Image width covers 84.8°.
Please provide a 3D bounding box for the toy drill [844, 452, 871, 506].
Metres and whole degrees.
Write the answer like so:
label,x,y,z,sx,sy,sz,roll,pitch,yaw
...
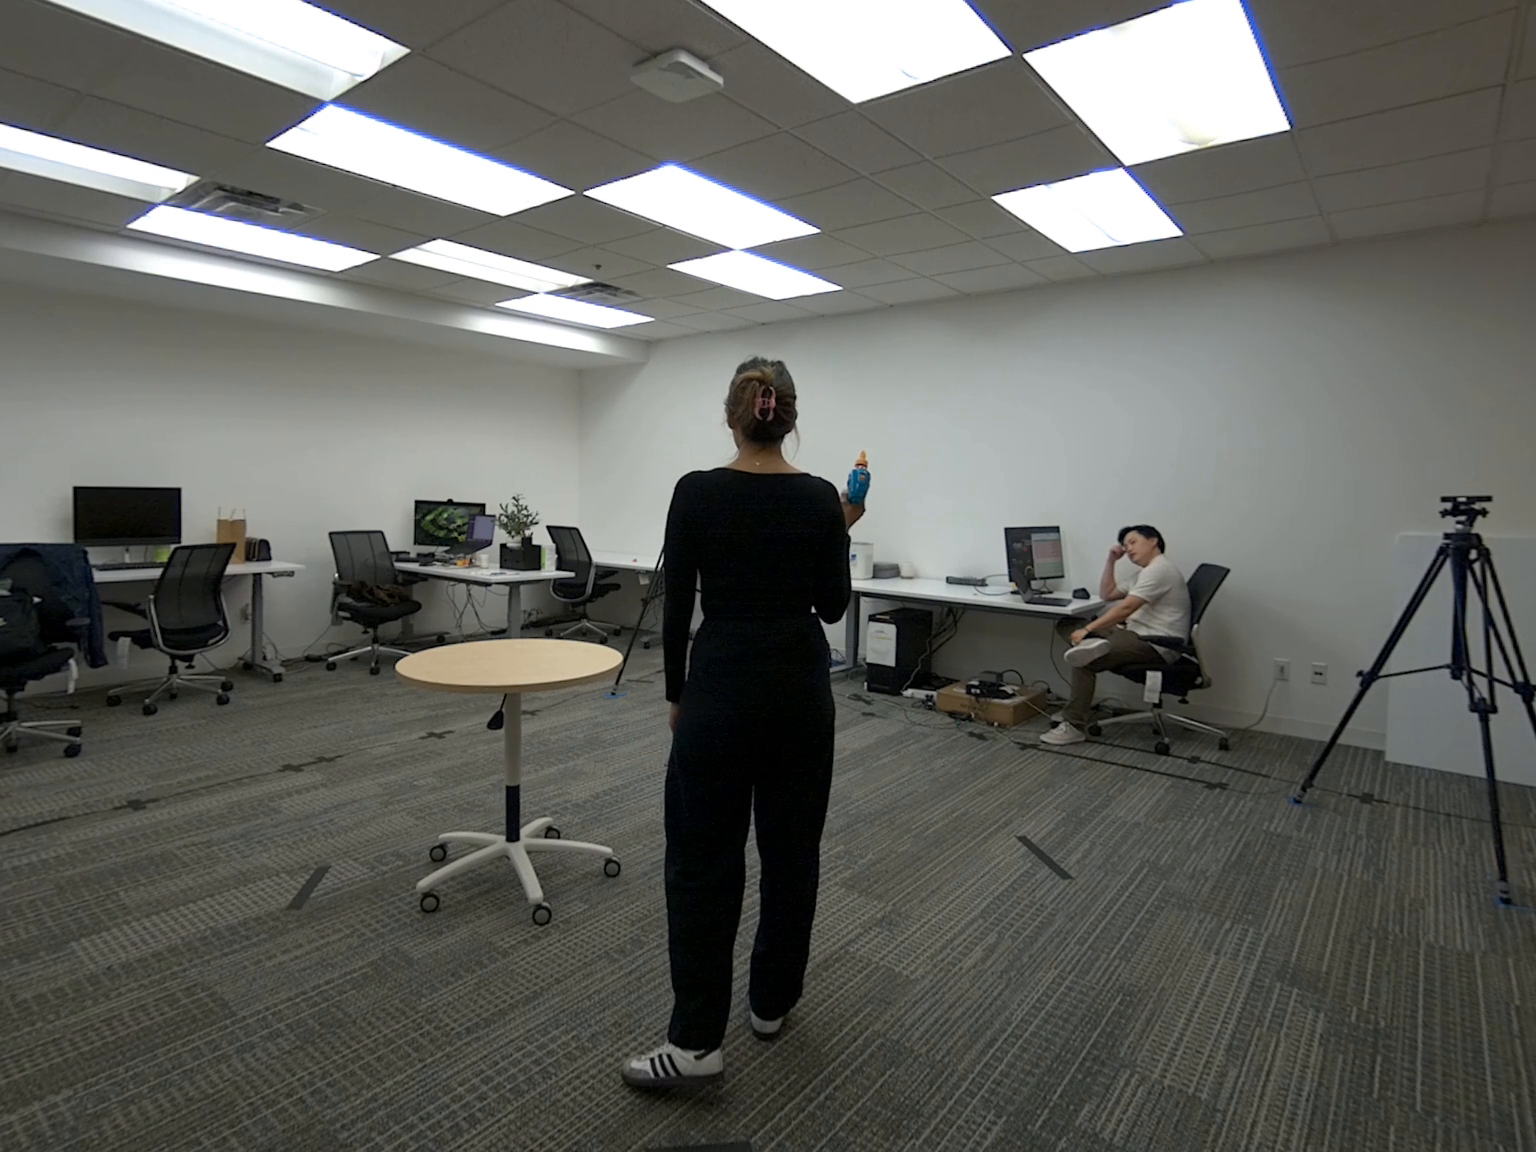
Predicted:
label,x,y,z,sx,sy,sz,roll,pitch,yaw
toy drill,0.227,-0.255,2.336,0.061,0.173,0.144,10,-27,-7
